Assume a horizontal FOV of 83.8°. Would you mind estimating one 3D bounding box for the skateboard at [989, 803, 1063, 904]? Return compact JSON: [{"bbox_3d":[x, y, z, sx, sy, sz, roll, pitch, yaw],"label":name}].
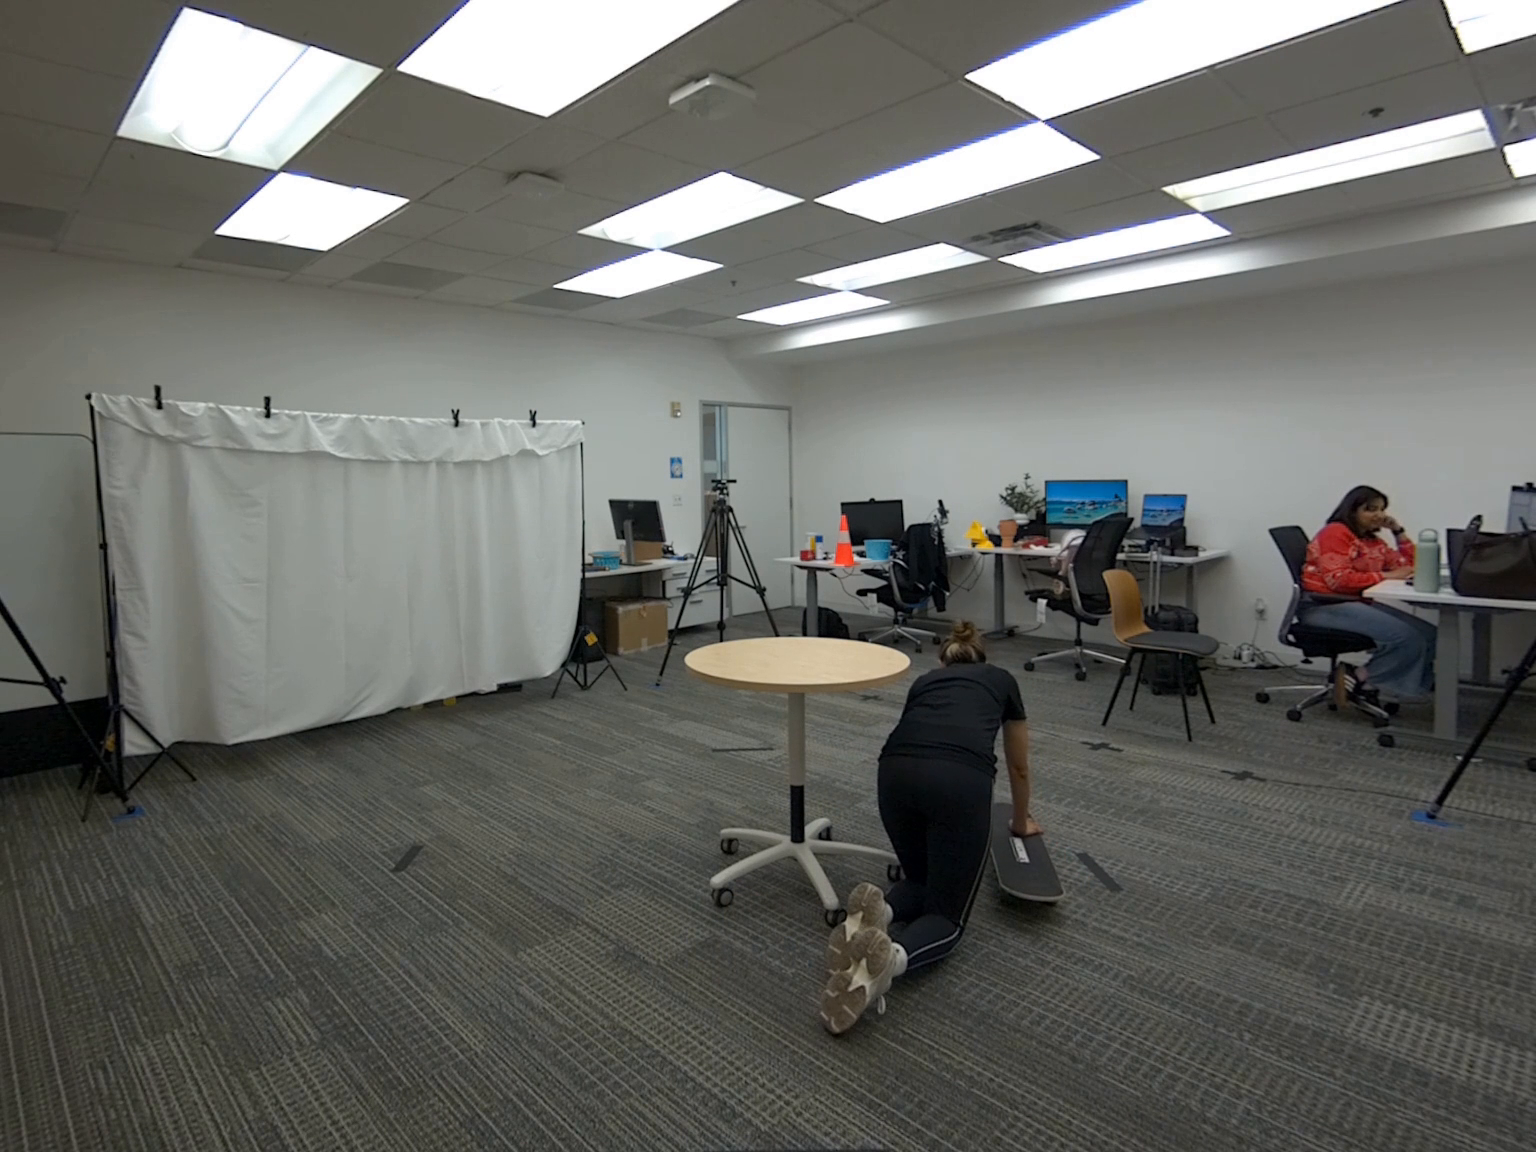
[{"bbox_3d":[0.881,0.989,2.986,0.195,0.110,0.781,1,7,9],"label":"skateboard"}]
